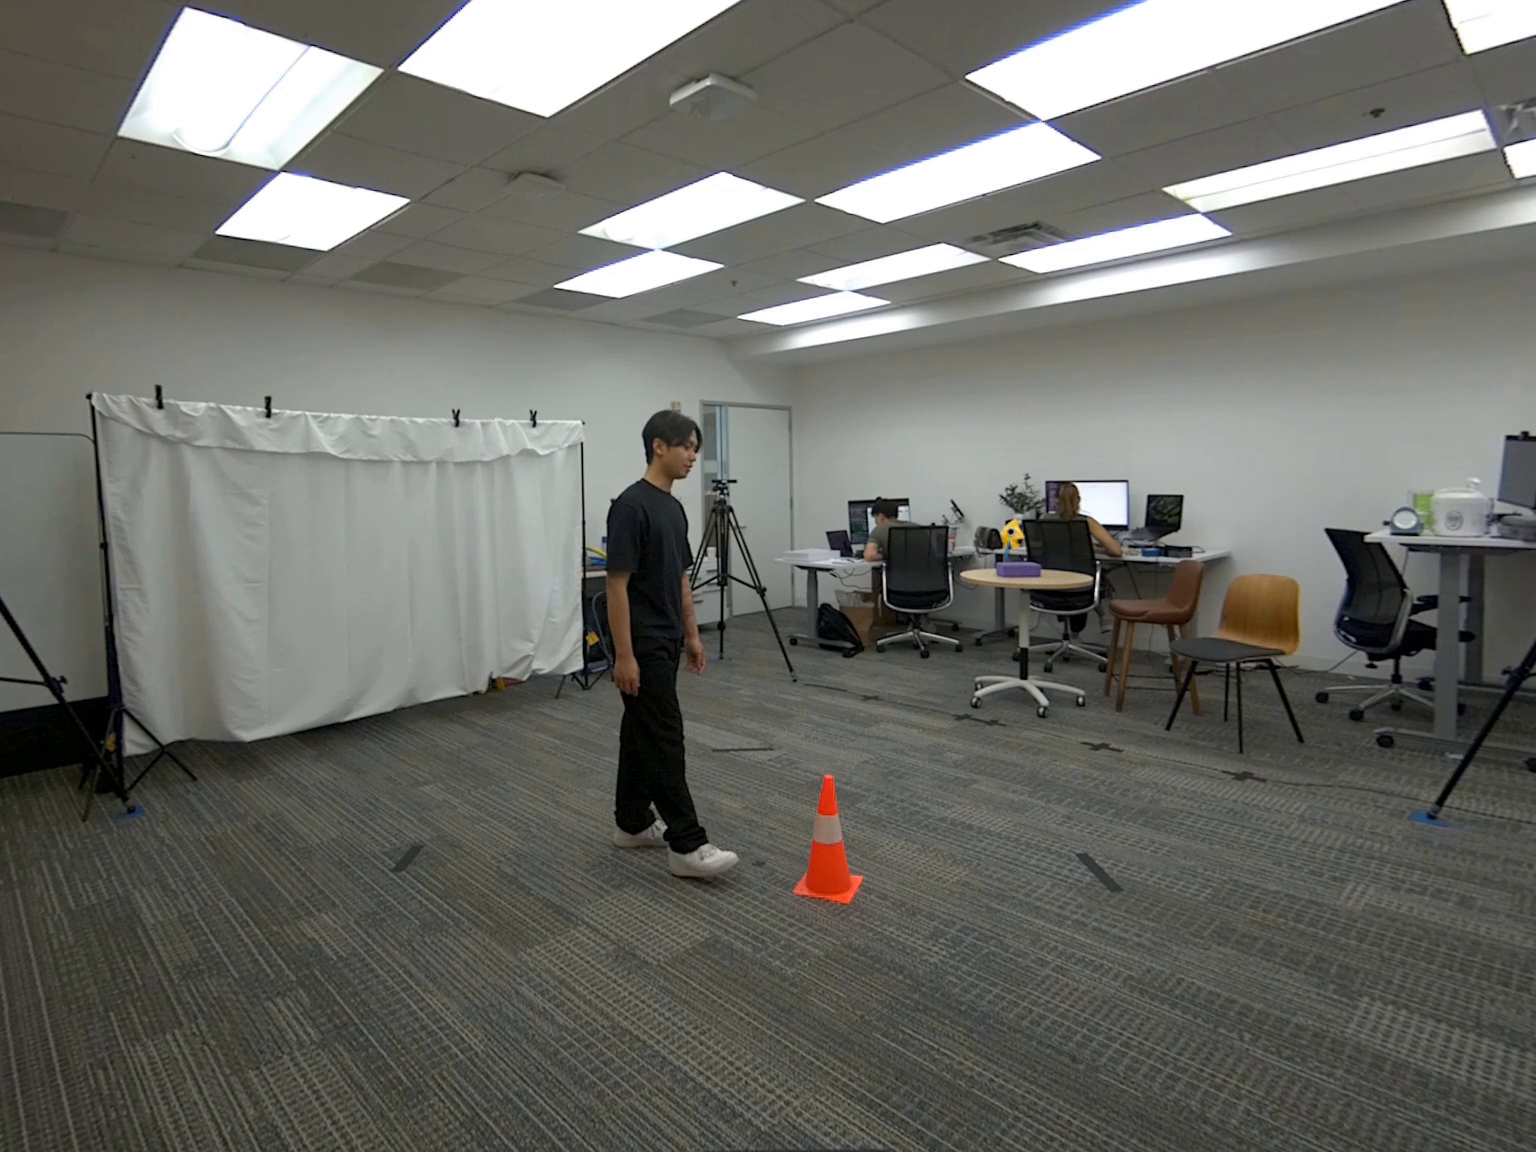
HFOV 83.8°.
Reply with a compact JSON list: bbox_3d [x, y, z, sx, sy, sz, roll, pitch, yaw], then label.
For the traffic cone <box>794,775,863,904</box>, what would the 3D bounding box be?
[{"bbox_3d":[0.204,0.877,2.919,0.208,0.382,0.201,-1,5,24],"label":"traffic cone"}]
